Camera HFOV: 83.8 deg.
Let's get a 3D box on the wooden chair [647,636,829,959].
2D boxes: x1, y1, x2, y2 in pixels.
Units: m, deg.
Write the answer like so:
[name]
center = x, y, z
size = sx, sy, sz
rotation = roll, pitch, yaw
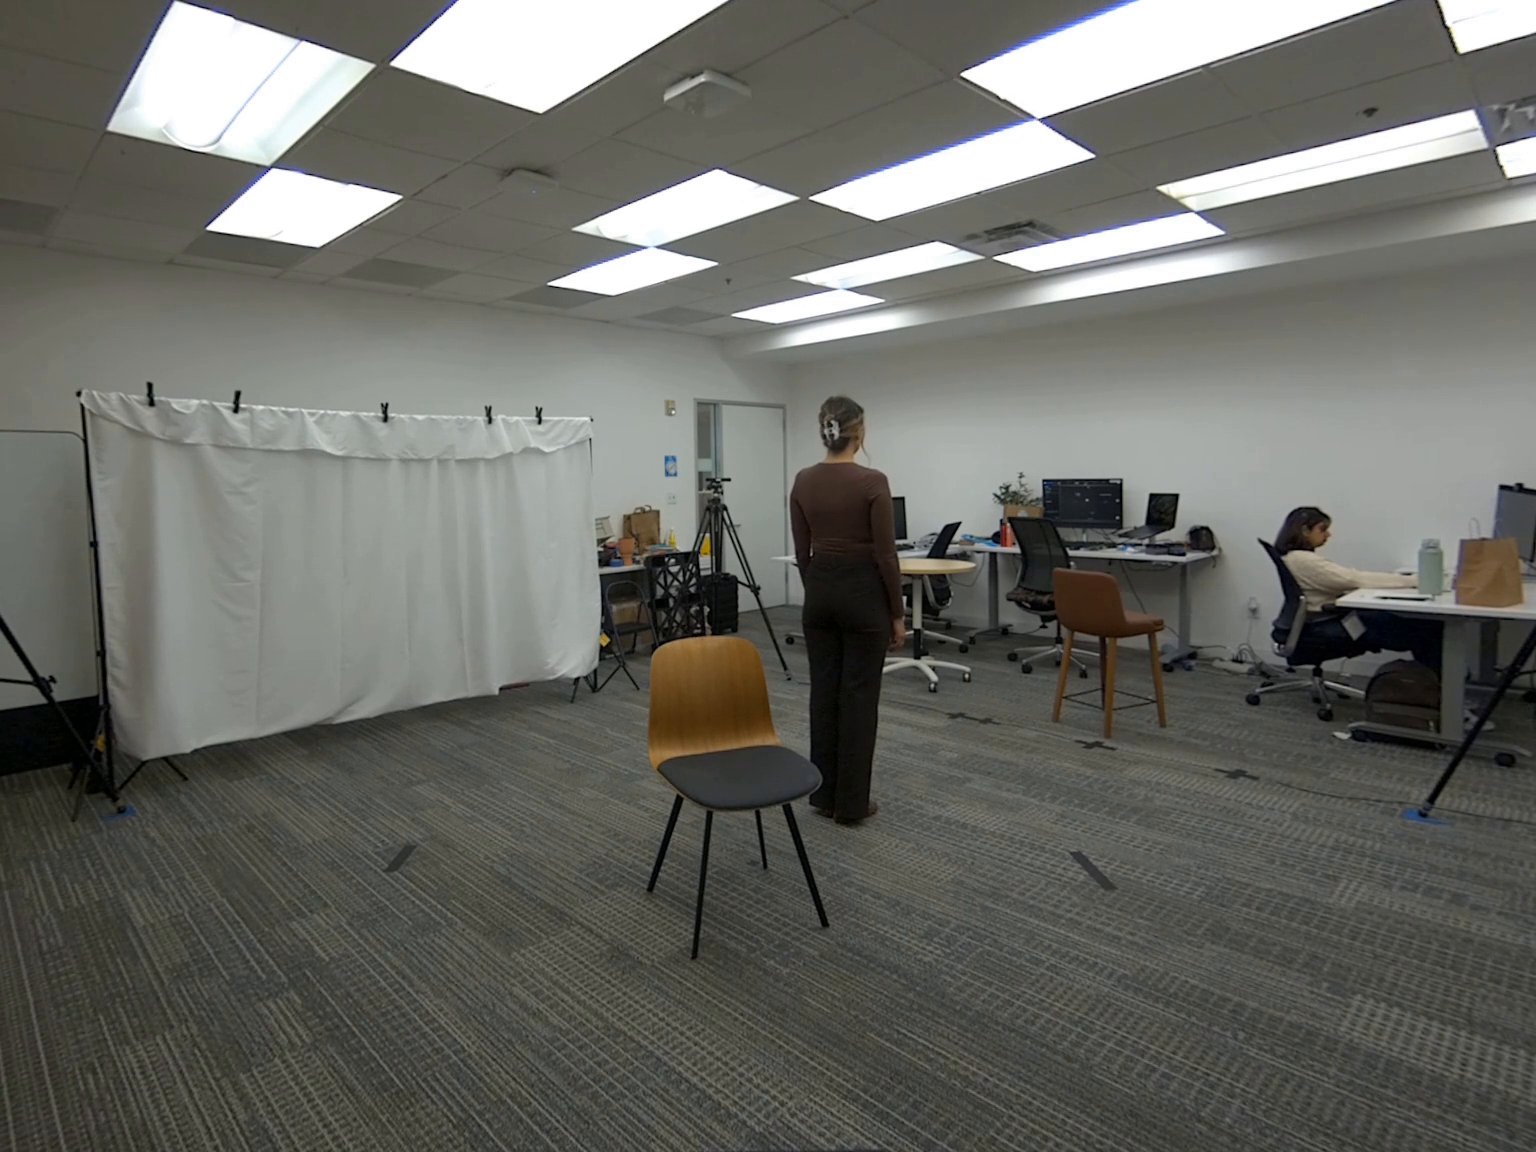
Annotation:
[wooden chair]
center = -0.113, 0.660, 2.736
size = 0.468, 0.877, 0.534
rotation = -3, 1, -24
